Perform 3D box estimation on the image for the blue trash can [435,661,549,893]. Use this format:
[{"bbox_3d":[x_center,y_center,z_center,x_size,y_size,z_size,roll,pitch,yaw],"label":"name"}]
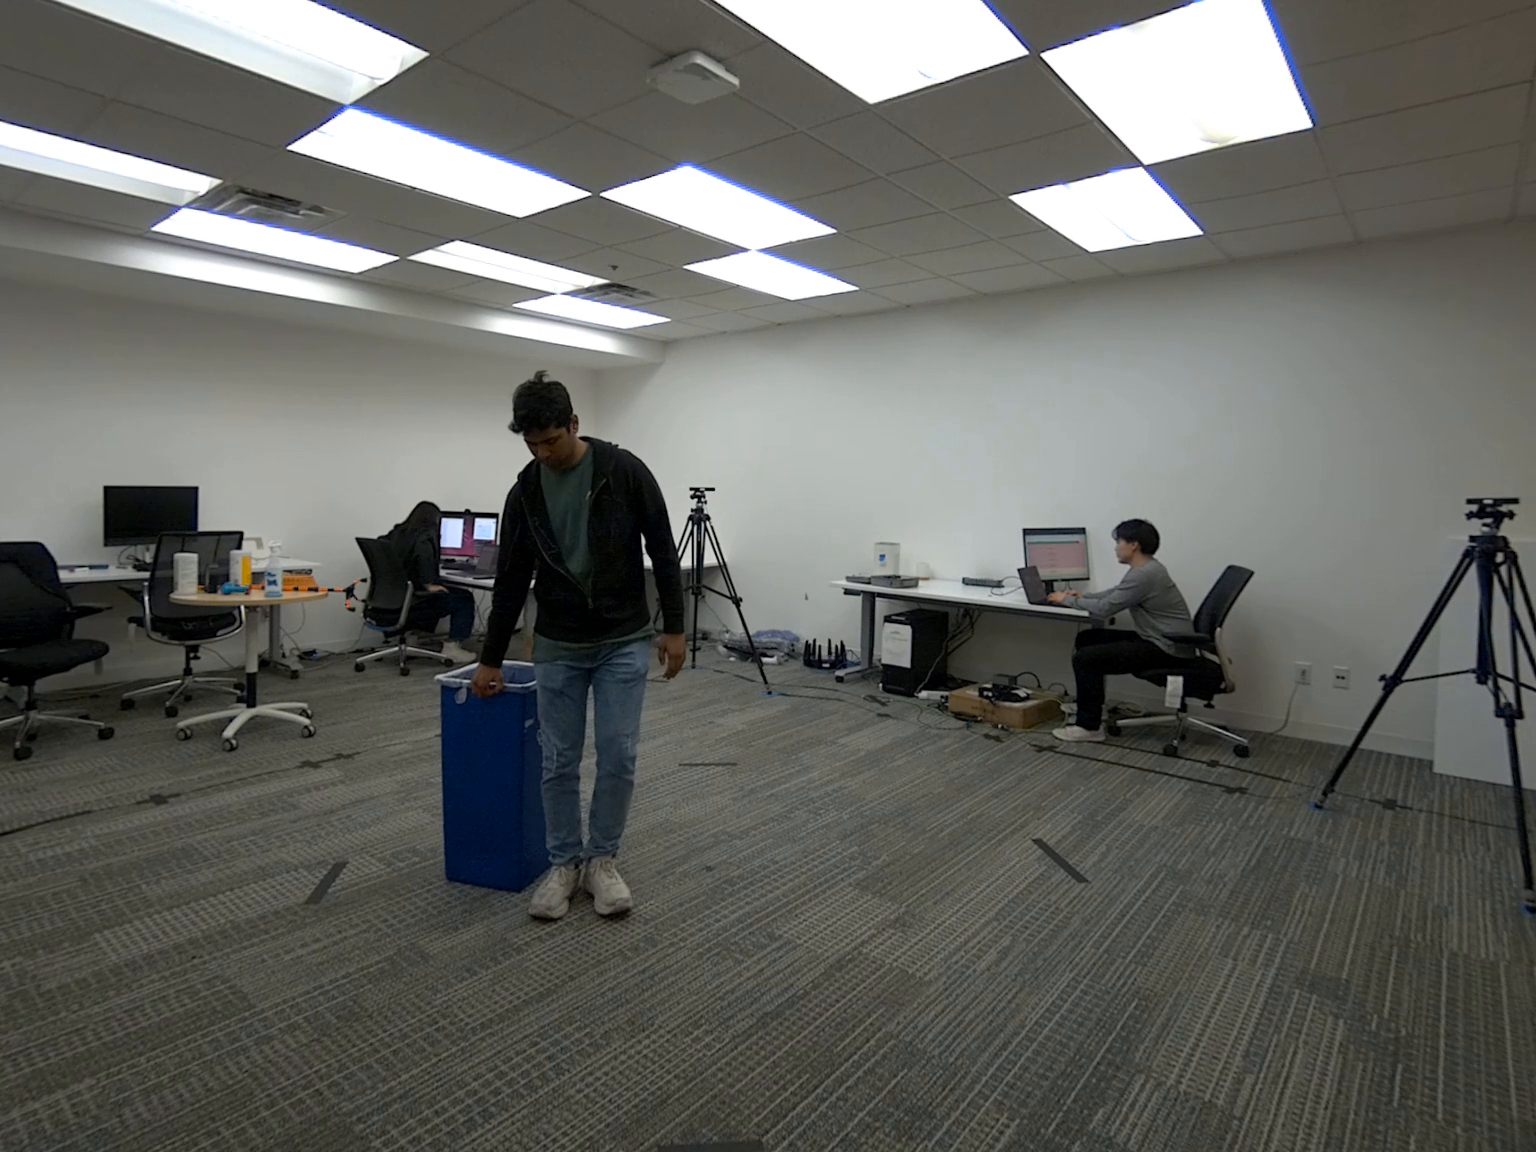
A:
[{"bbox_3d":[-0.952,0.698,3.065,0.381,0.712,0.372,1,3,16],"label":"blue trash can"}]
